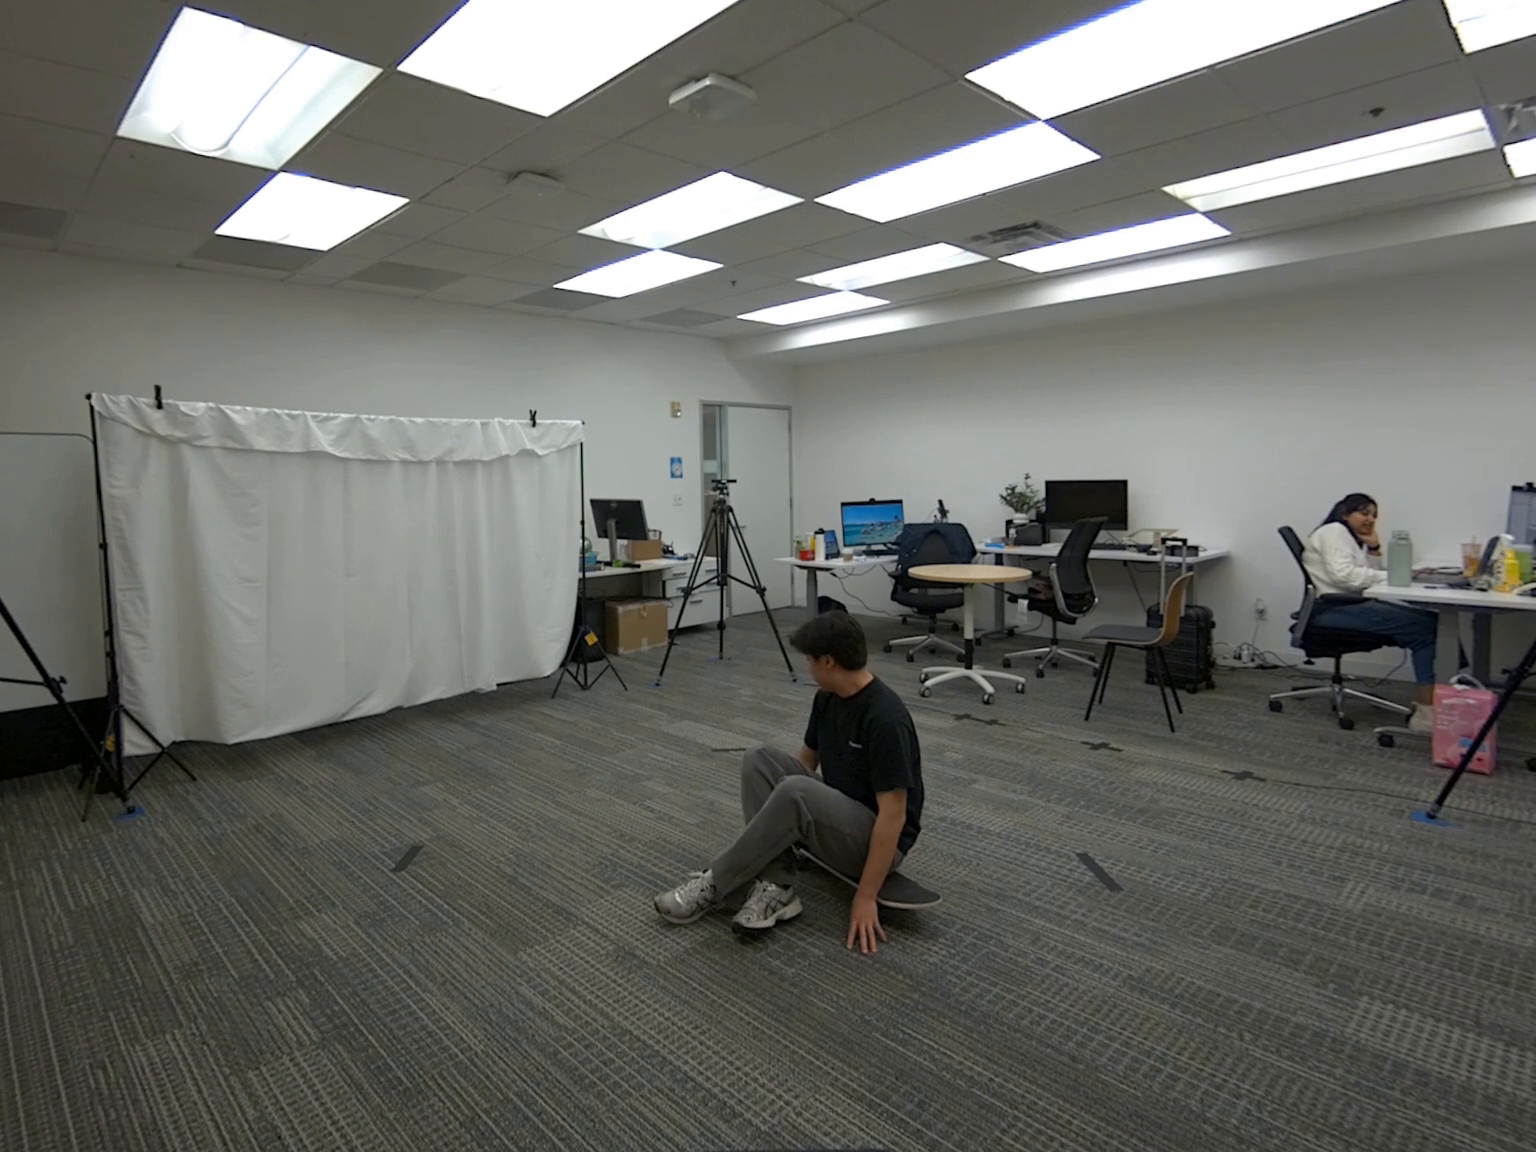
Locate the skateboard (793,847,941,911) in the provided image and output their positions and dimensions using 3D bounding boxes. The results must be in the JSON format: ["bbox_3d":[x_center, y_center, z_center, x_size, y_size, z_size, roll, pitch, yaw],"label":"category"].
[{"bbox_3d":[0.284,1.007,2.909,0.188,0.110,0.807,2,4,-31],"label":"skateboard"}]
